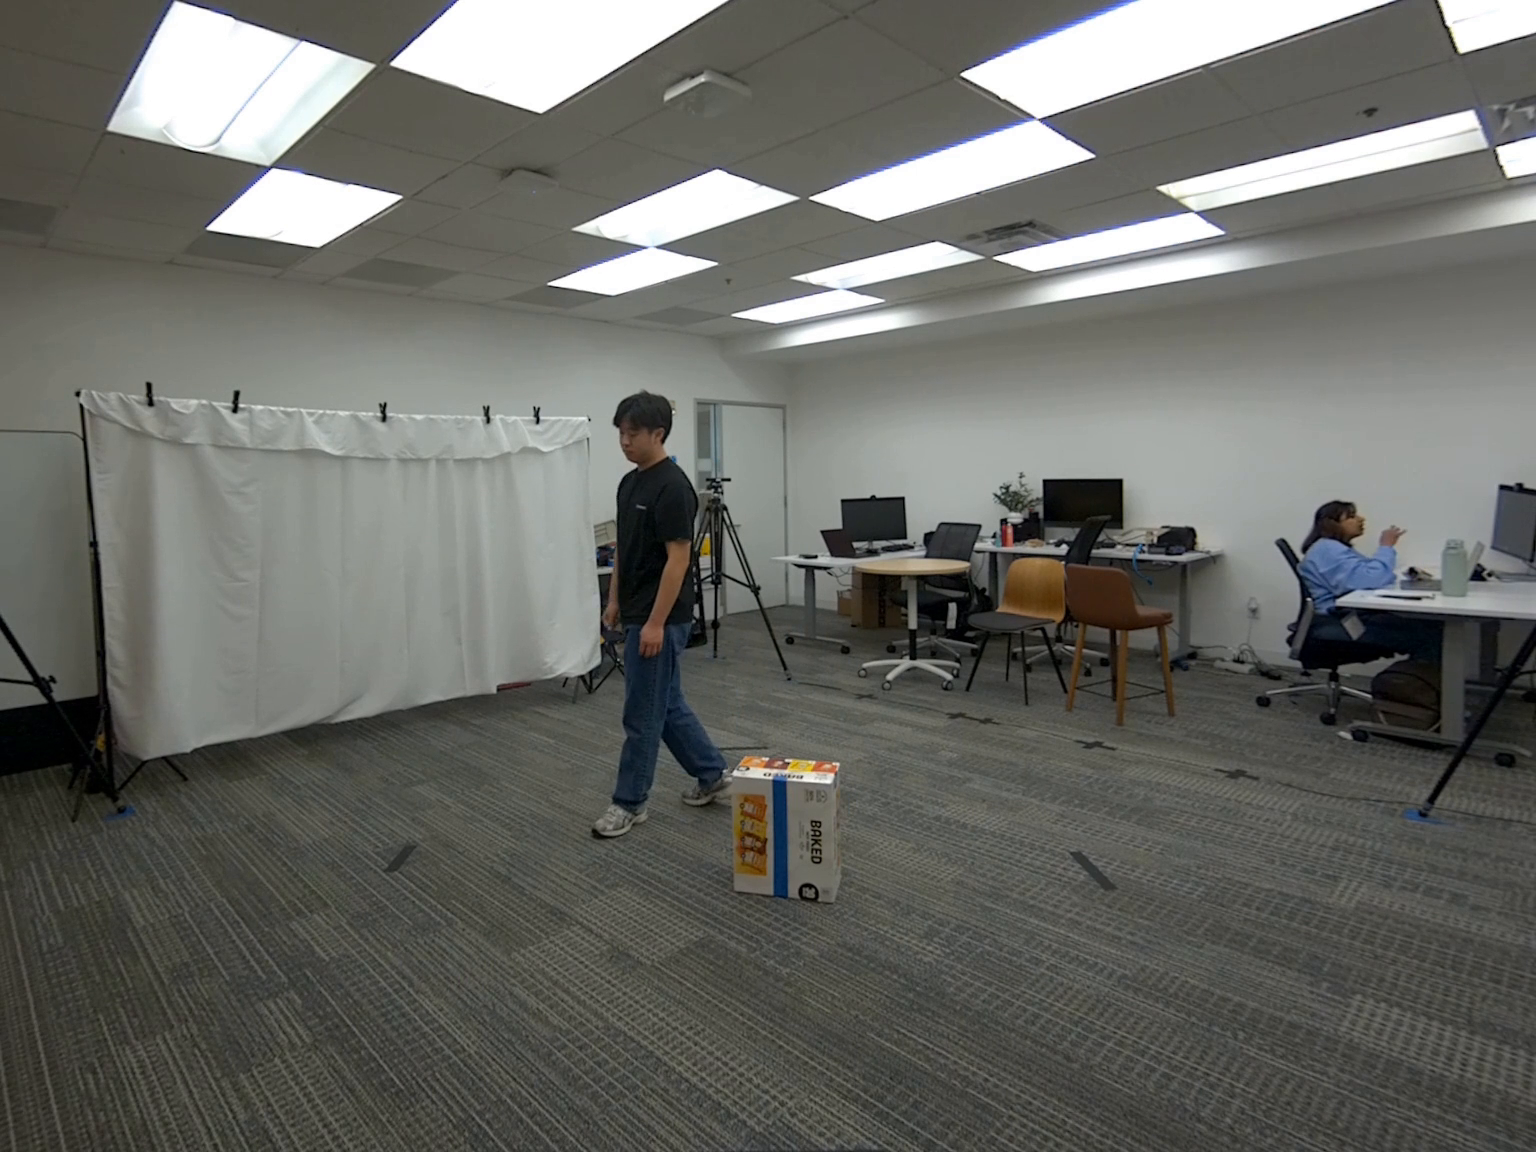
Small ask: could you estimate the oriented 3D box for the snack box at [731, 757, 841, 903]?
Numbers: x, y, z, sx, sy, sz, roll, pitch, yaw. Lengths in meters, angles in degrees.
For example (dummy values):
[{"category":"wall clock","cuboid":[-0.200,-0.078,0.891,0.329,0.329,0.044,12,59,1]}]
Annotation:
[{"category":"snack box","cuboid":[0.072,0.856,2.926,0.345,0.403,0.203,0,4,15]}]
